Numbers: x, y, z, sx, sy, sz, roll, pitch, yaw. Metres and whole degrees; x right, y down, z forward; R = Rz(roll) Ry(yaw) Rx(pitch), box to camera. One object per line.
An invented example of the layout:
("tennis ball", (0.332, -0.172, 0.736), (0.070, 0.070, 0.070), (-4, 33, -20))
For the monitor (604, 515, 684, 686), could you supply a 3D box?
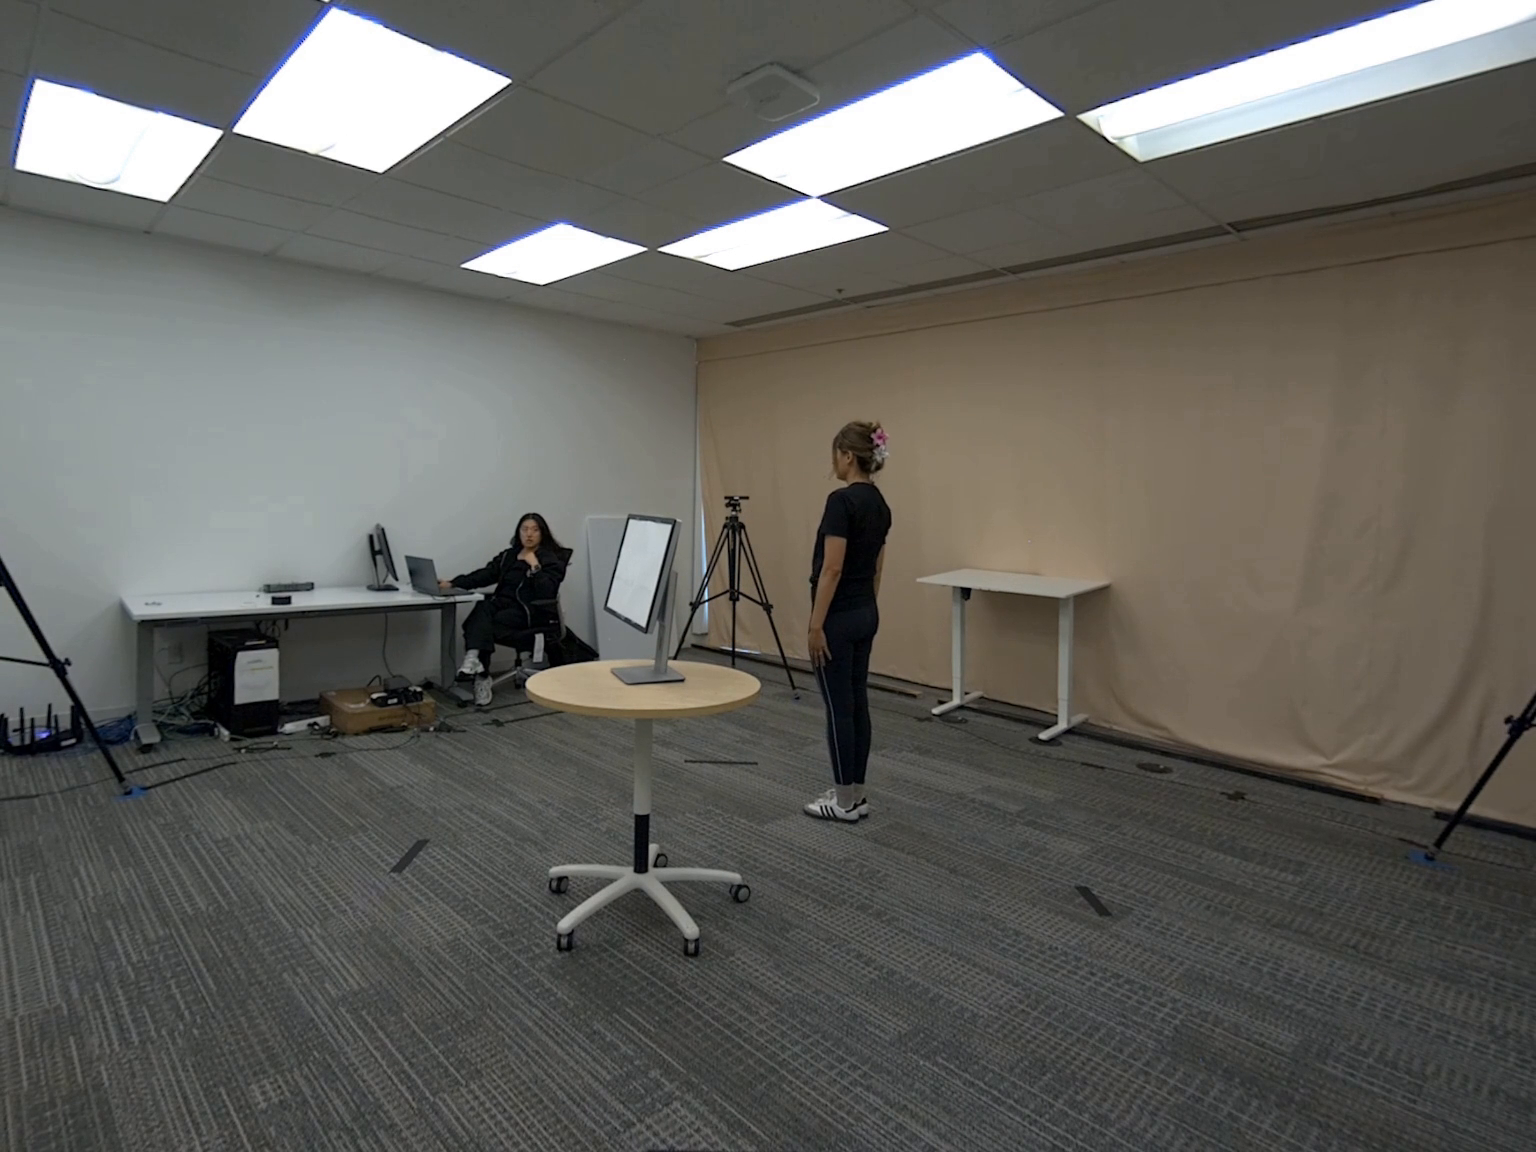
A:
("monitor", (-0.406, 0.078, 2.844), (0.184, 0.521, 0.550), (0, 4, -26))
